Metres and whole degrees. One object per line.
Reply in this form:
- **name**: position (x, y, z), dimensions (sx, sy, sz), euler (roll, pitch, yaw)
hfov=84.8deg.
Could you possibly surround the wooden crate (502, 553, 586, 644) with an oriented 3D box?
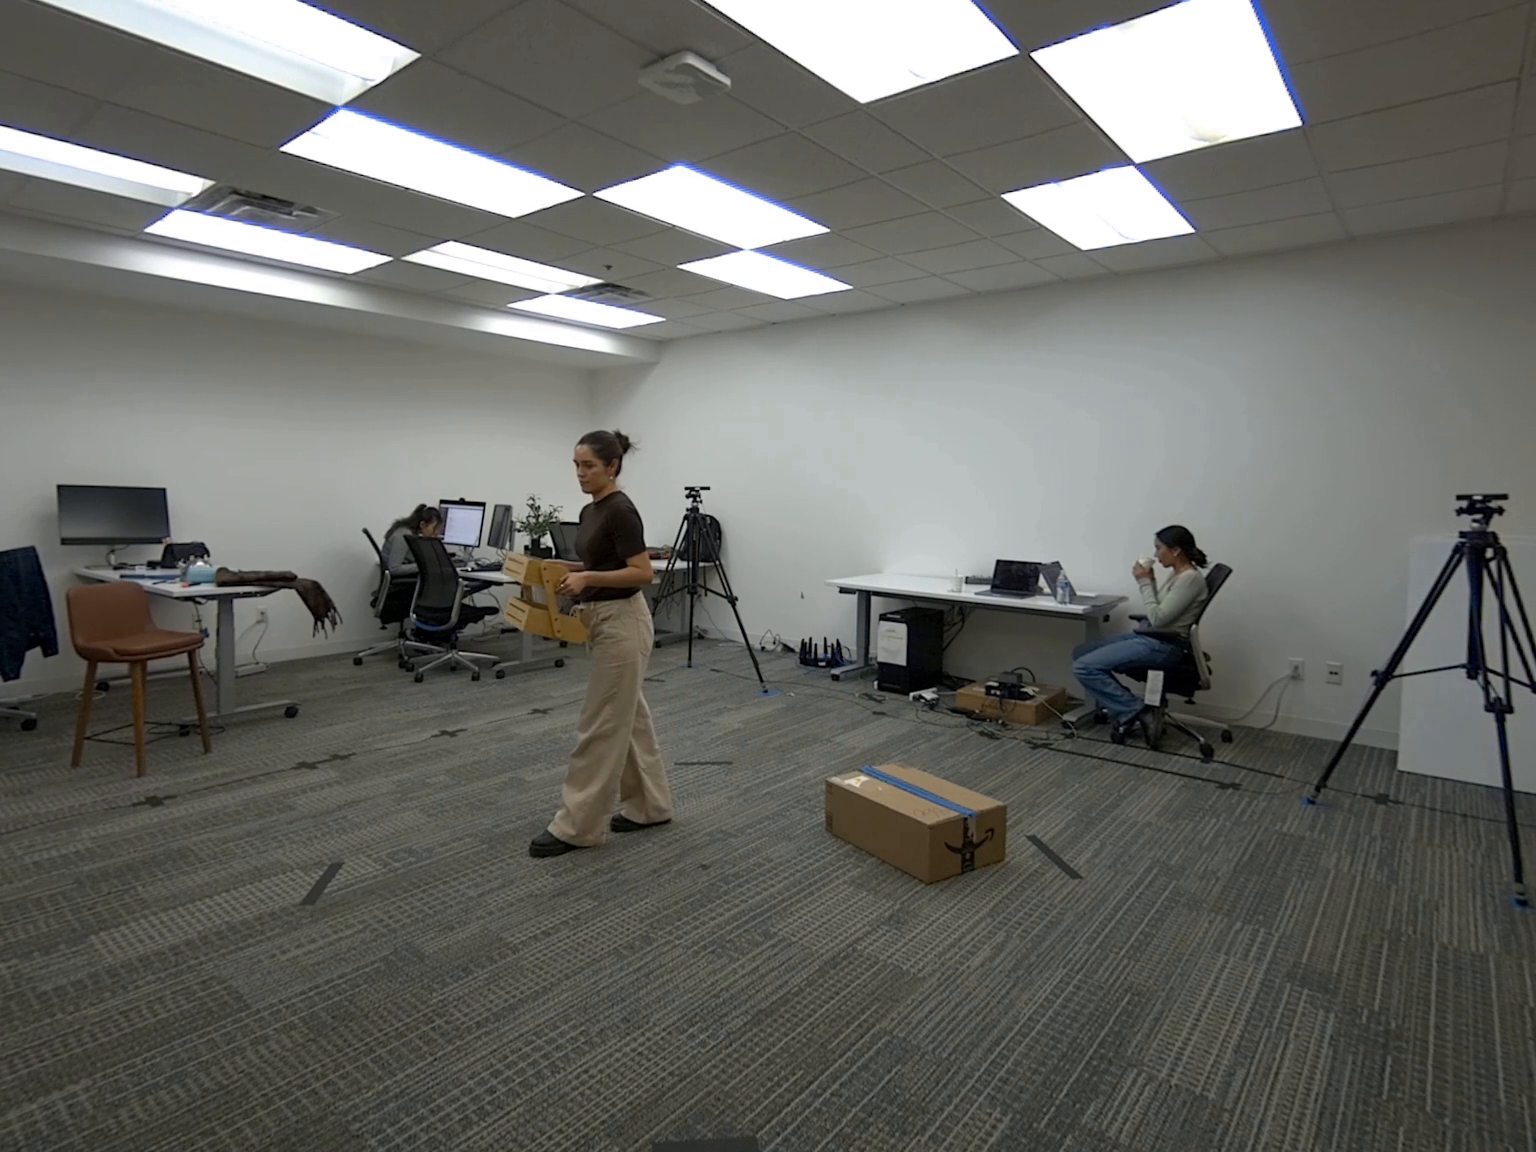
- **wooden crate**: position (-0.855, 0.072, 3.238), dimensions (0.292, 0.274, 0.335), euler (16, -3, -32)
